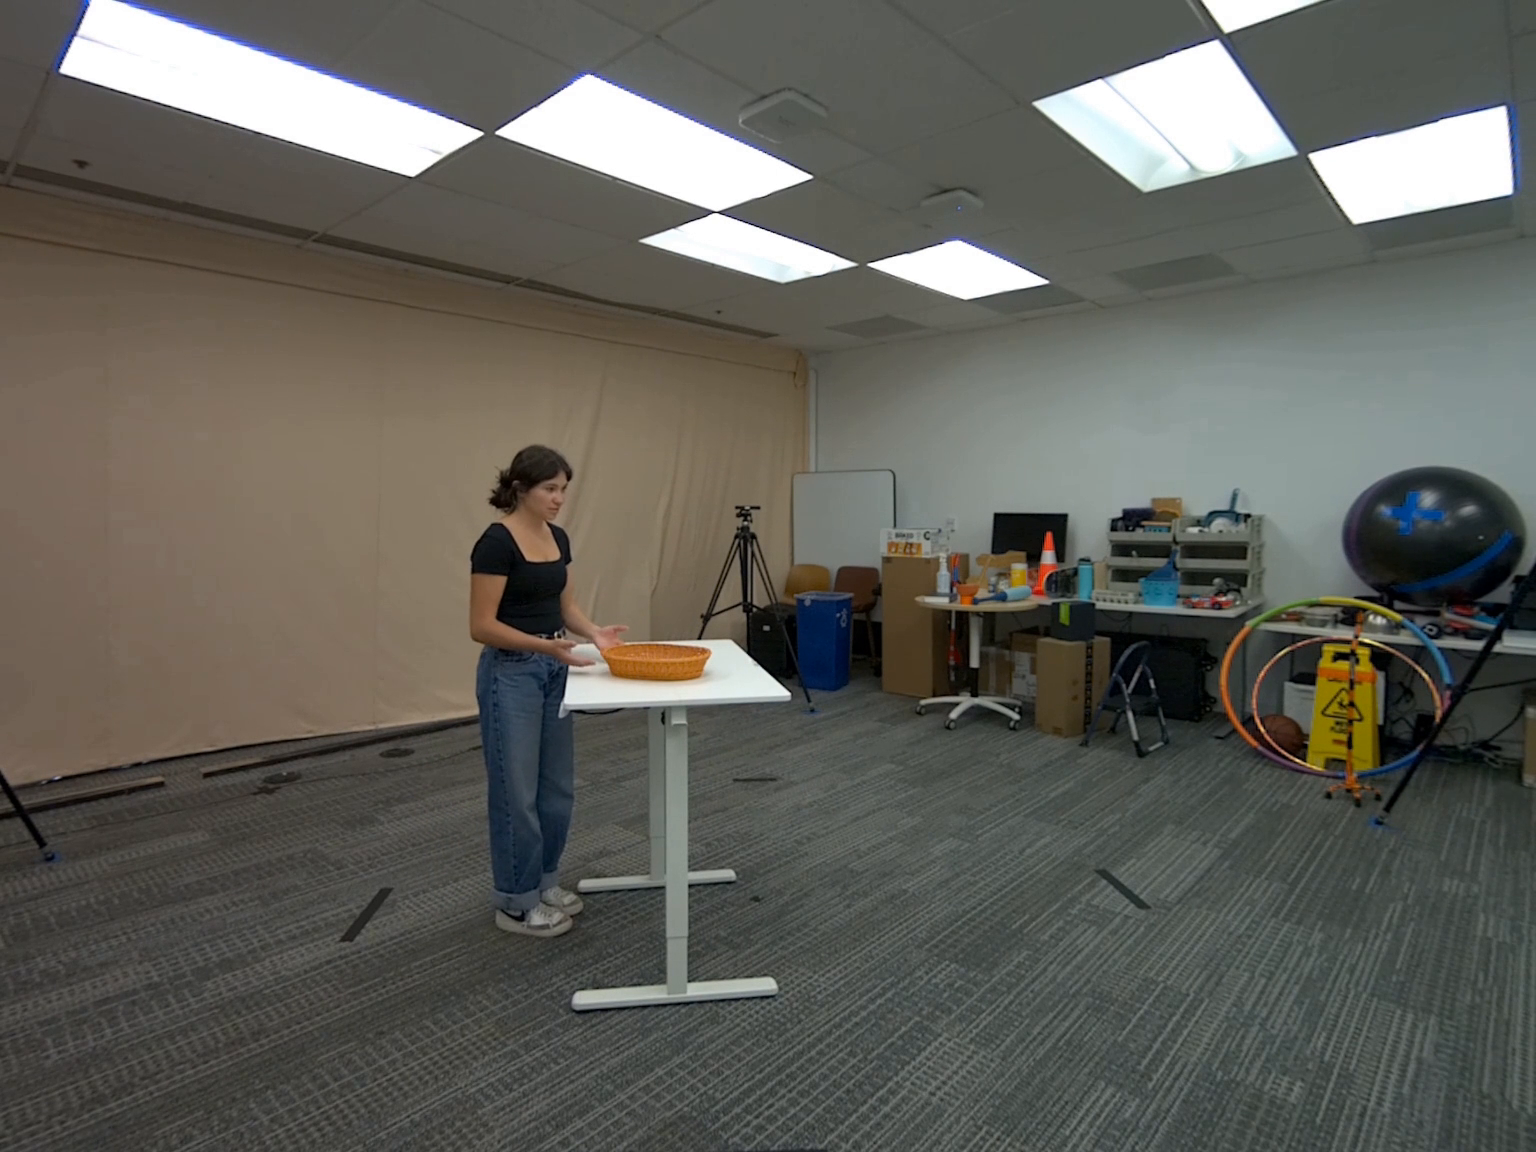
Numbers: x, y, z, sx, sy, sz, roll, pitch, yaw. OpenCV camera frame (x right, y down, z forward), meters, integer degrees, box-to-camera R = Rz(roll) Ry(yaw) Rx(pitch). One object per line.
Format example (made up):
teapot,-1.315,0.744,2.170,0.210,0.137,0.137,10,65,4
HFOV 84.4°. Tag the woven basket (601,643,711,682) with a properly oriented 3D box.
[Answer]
woven basket,-0.347,0.272,2.530,0.357,0.073,0.248,1,5,18
